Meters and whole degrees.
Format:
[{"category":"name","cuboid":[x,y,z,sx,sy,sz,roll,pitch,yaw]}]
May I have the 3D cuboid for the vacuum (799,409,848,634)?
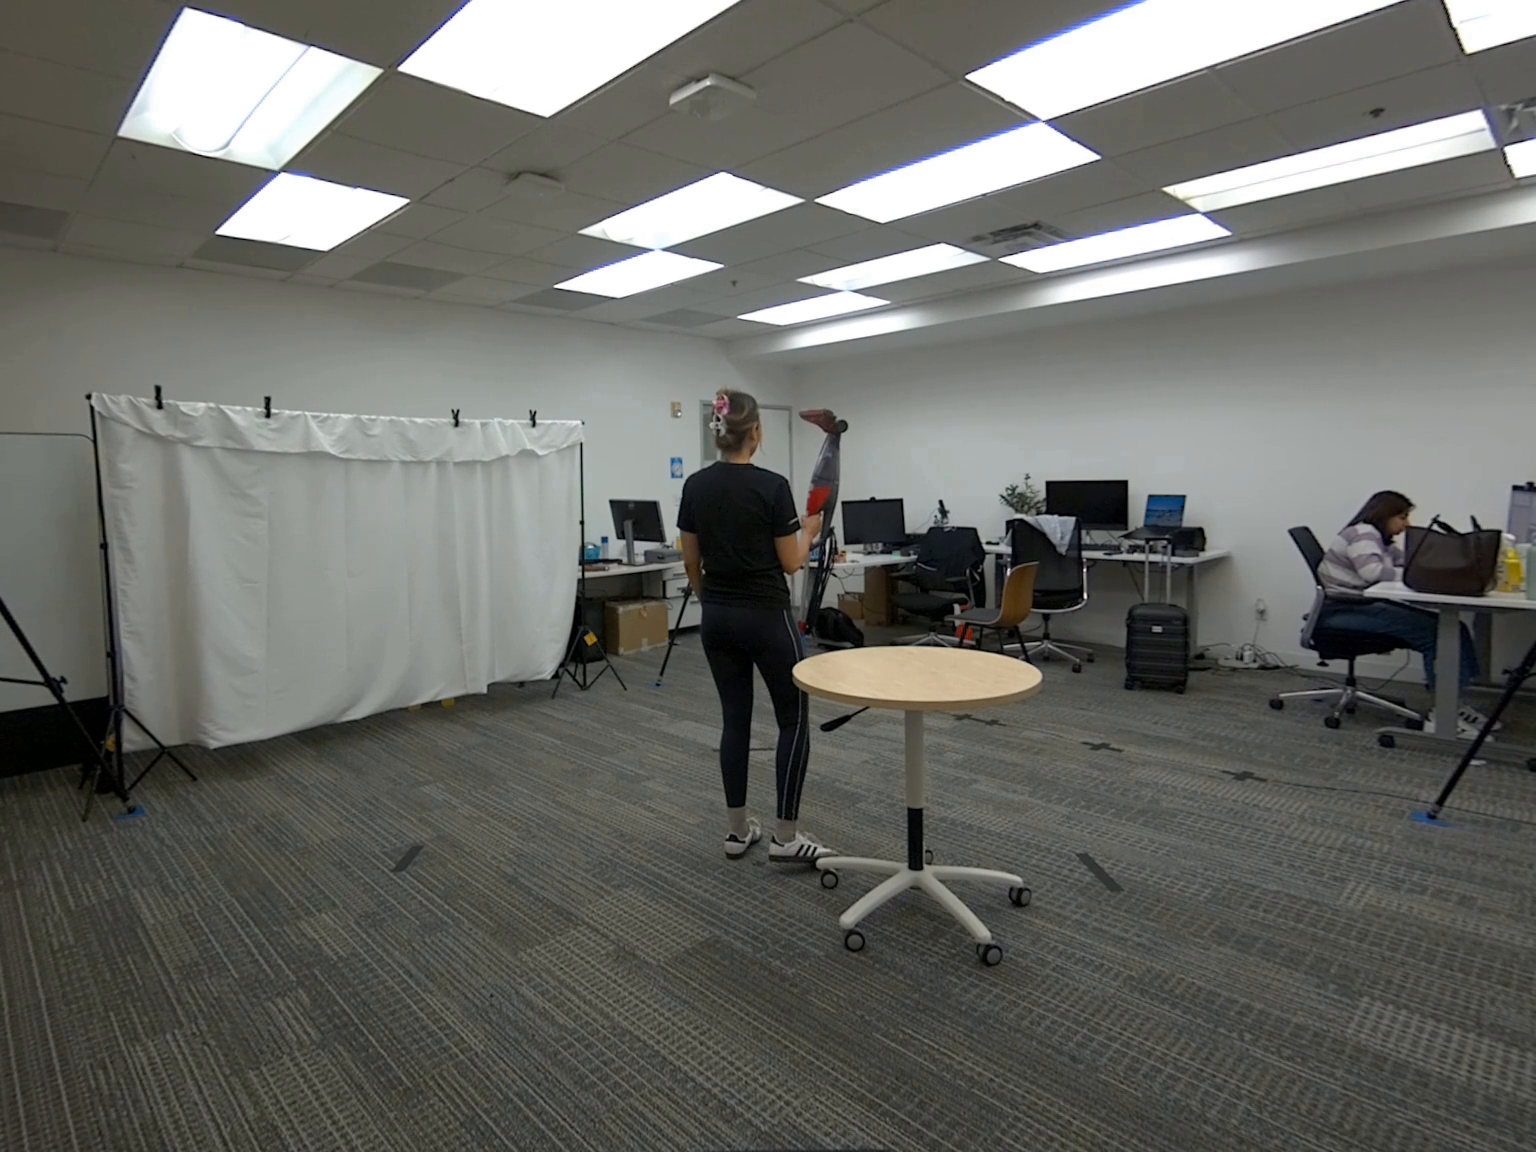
[{"category":"vacuum","cuboid":[0.211,-0.113,3.434,0.141,1.043,0.258,0,7,-19]}]
